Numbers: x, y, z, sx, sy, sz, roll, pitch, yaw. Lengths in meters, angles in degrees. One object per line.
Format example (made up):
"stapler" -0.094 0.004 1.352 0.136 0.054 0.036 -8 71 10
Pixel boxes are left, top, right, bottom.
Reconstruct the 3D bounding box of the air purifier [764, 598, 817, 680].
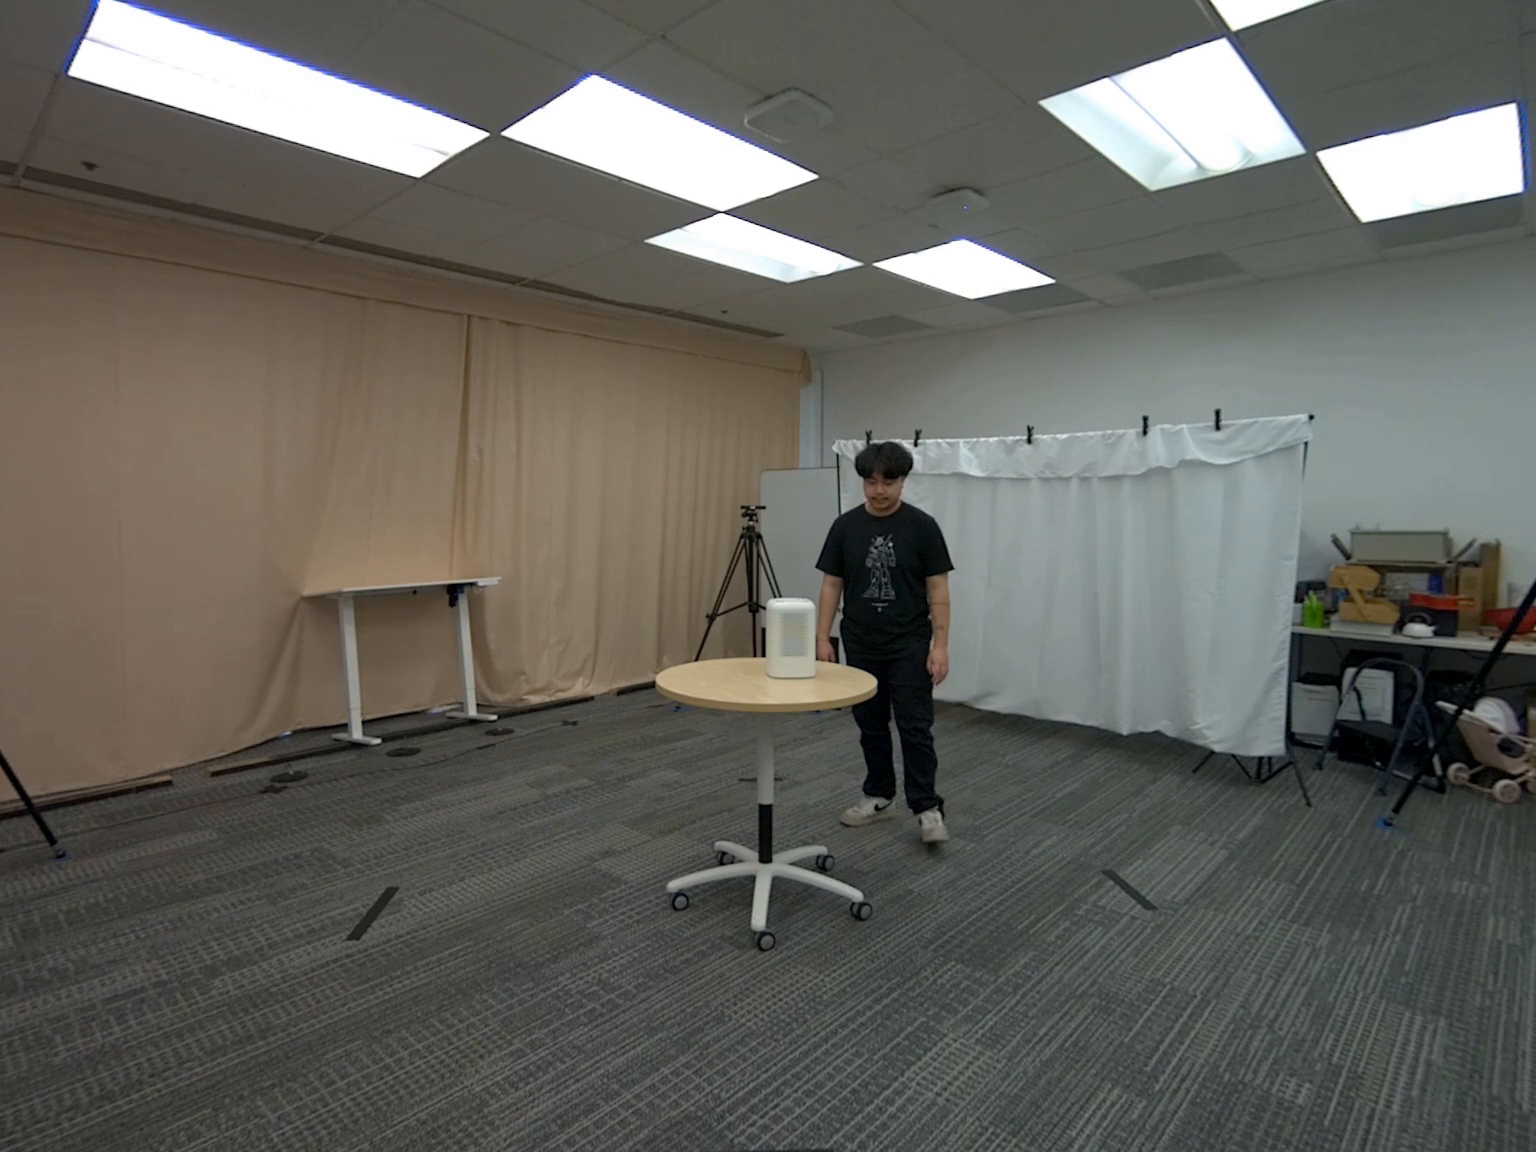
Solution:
"air purifier" 0.088 0.218 2.988 0.171 0.265 0.171 1 3 -2
